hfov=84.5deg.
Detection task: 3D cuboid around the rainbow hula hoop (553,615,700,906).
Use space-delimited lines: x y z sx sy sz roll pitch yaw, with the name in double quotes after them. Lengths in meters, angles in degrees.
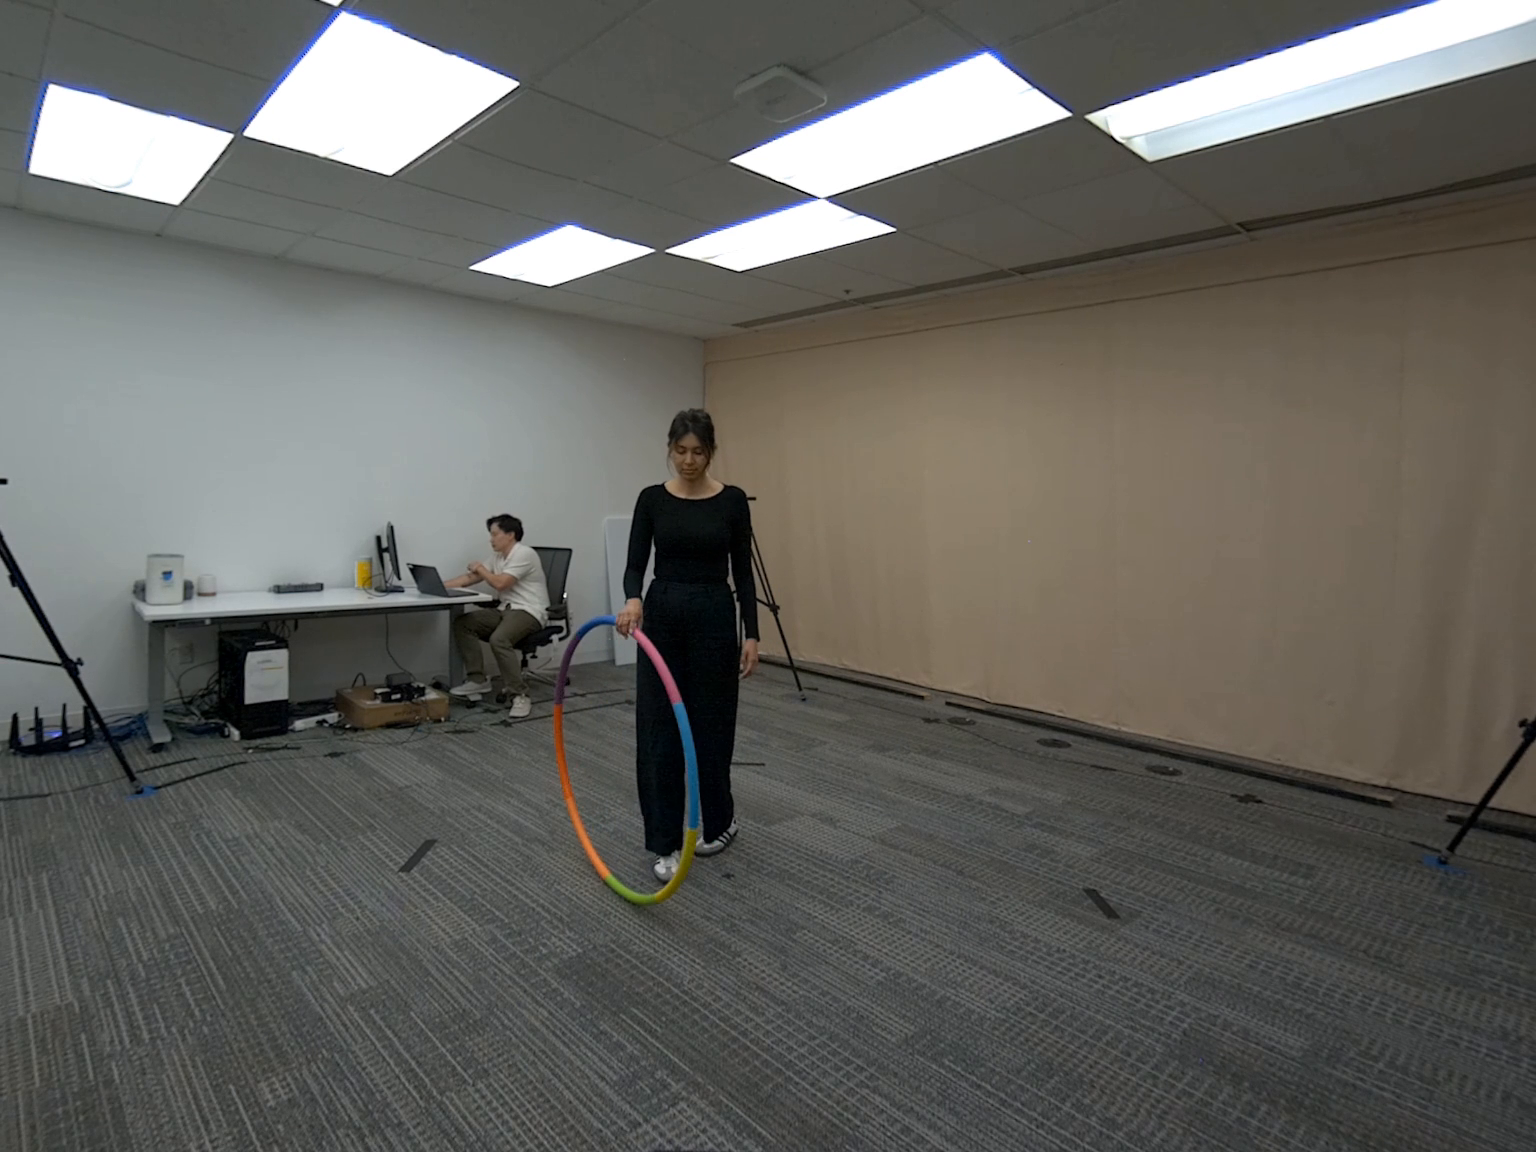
-0.523 0.632 2.916 0.035 0.975 1.003 -3 6 -37 "rainbow hula hoop"
